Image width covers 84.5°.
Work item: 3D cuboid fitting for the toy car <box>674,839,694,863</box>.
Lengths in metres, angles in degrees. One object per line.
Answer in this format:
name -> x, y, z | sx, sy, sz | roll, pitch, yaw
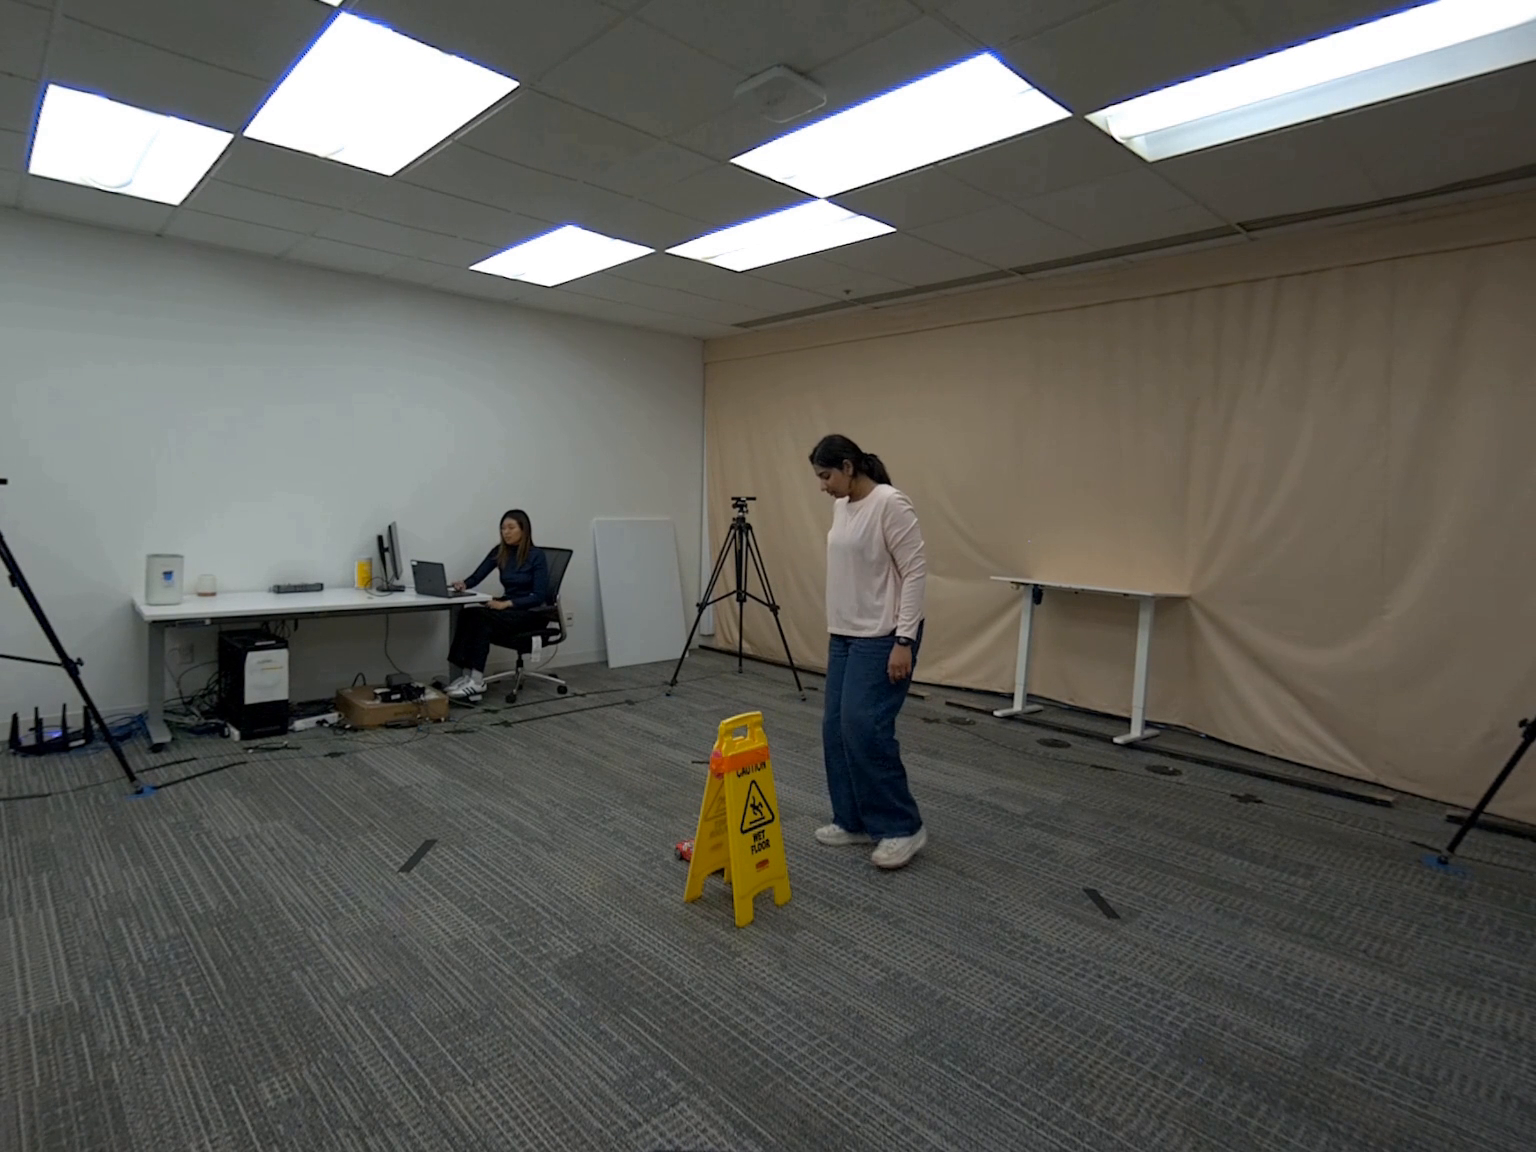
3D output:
toy car -> -0.248, 1.066, 3.197 | 0.127, 0.083, 0.259 | -2, -5, -41
